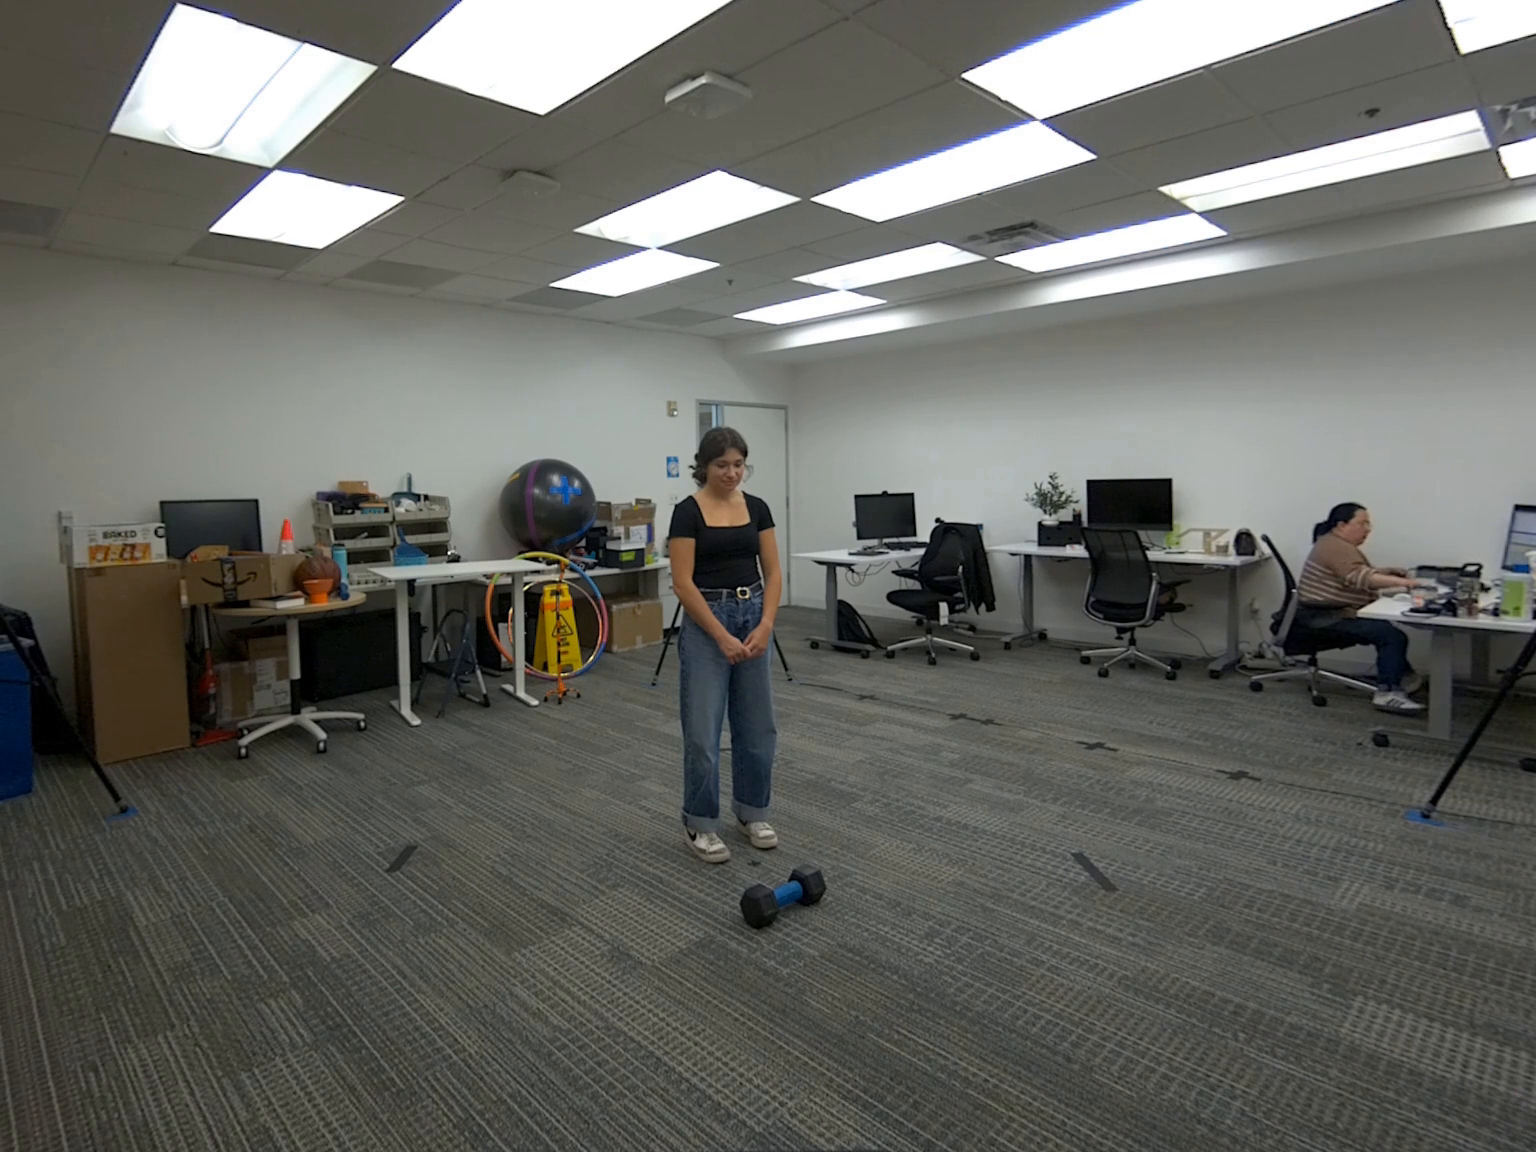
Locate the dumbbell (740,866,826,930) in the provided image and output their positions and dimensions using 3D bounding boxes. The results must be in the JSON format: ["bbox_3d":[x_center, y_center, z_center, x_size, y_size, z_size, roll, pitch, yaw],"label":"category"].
[{"bbox_3d":[0.054,1.031,2.754,0.286,0.121,0.113,-6,38,-40],"label":"dumbbell"}]
